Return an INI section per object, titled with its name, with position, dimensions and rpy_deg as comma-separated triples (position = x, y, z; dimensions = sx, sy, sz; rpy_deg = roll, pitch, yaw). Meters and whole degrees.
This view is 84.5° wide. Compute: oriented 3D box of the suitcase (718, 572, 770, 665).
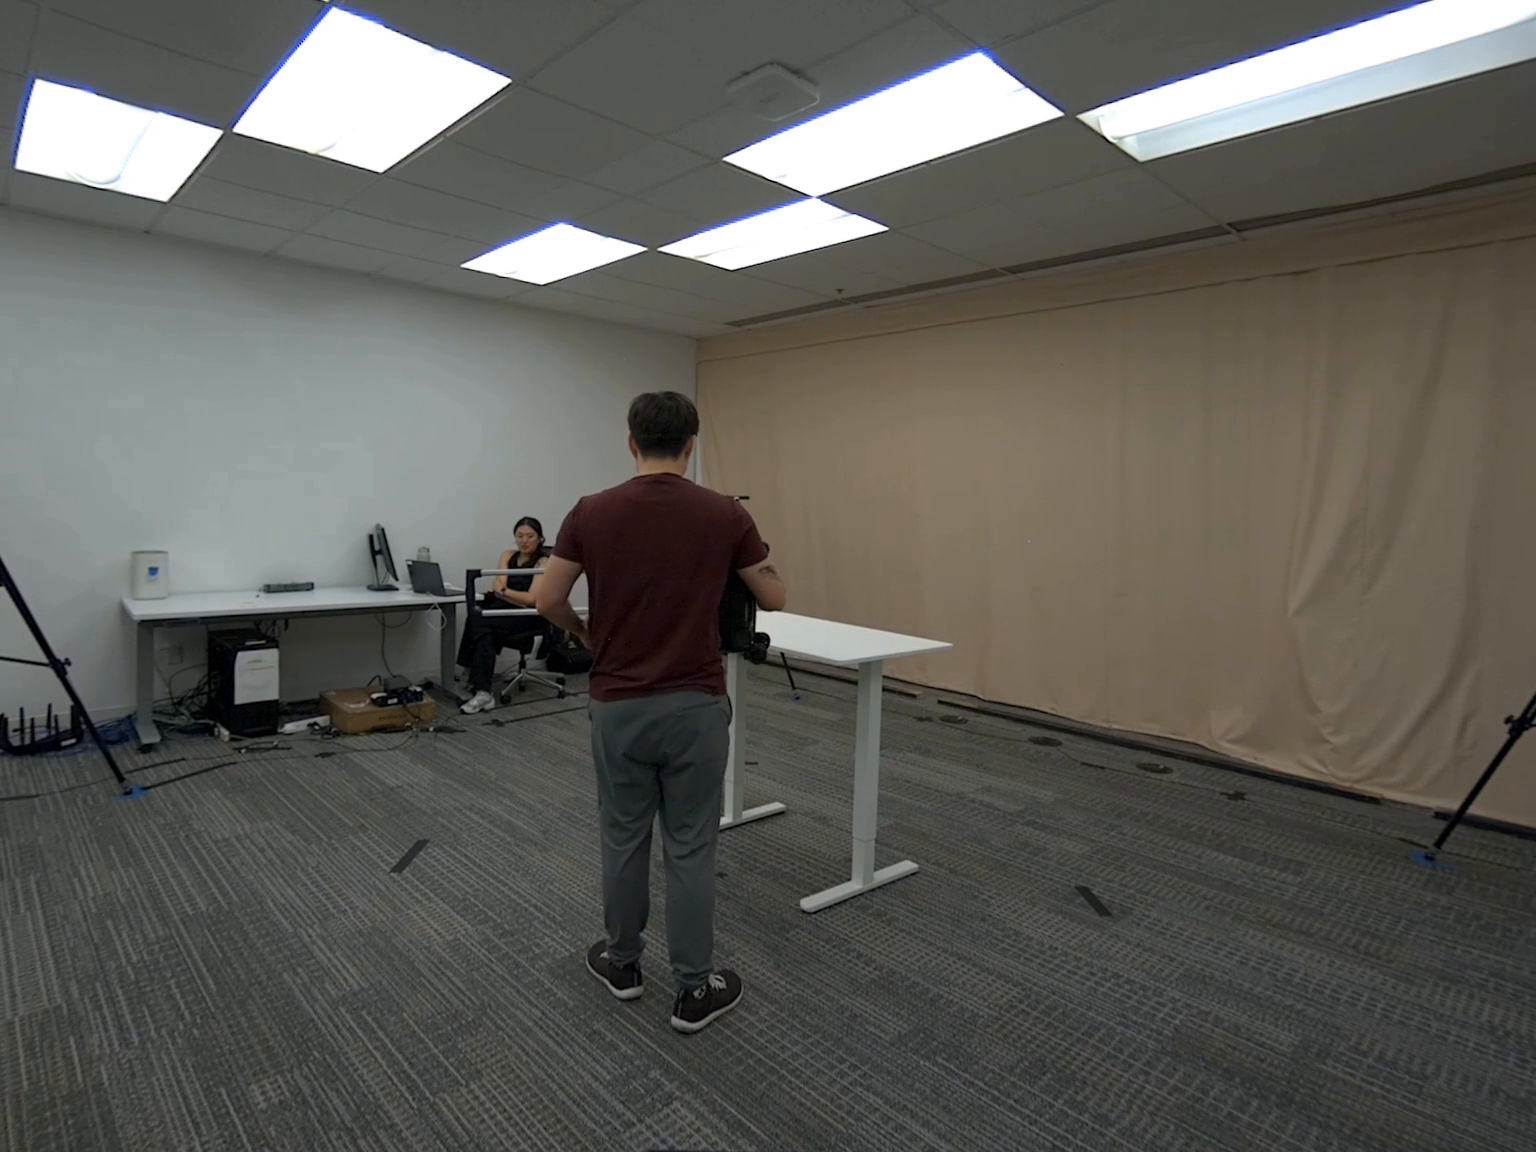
[suitcase]
position = -0.482, 0.058, 2.579
dimensions = 0.981, 0.383, 0.257
rpy_deg = 0, 5, 4
